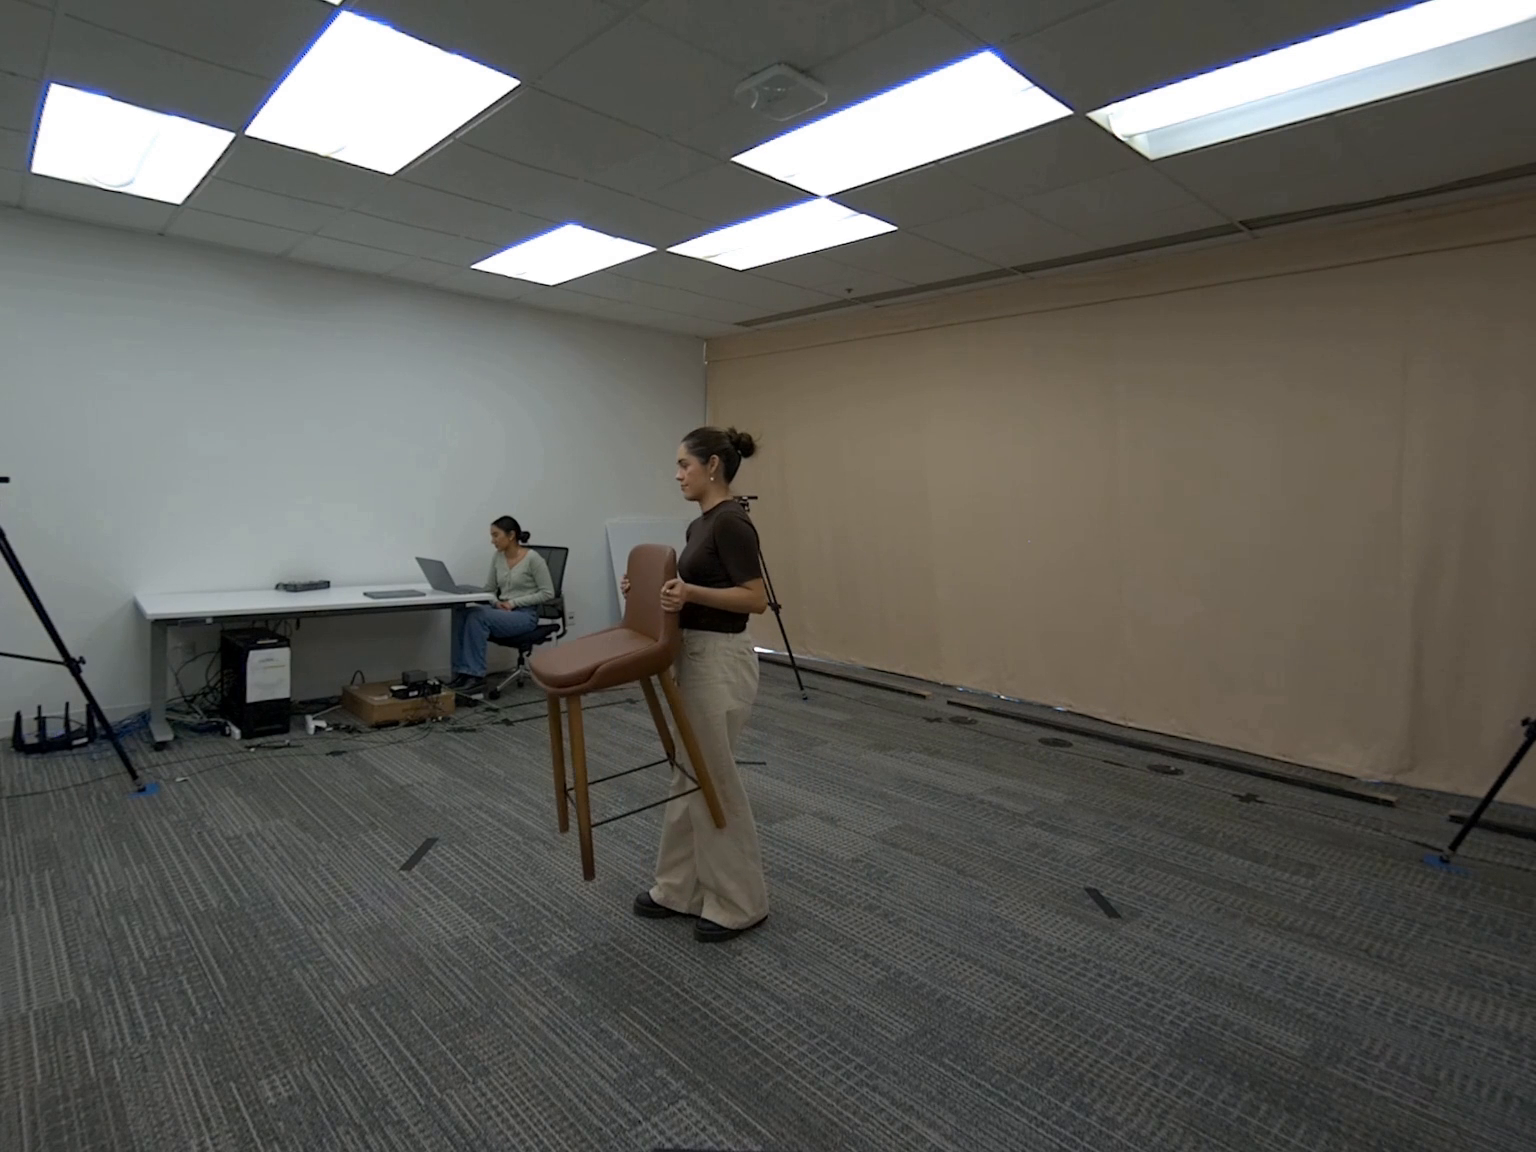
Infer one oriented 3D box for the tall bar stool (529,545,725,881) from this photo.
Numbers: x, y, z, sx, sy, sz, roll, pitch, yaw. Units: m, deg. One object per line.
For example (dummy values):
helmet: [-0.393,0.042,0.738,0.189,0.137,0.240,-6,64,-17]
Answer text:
tall bar stool: [-0.479,0.386,2.604,0.461,0.884,0.465,-11,8,-23]
